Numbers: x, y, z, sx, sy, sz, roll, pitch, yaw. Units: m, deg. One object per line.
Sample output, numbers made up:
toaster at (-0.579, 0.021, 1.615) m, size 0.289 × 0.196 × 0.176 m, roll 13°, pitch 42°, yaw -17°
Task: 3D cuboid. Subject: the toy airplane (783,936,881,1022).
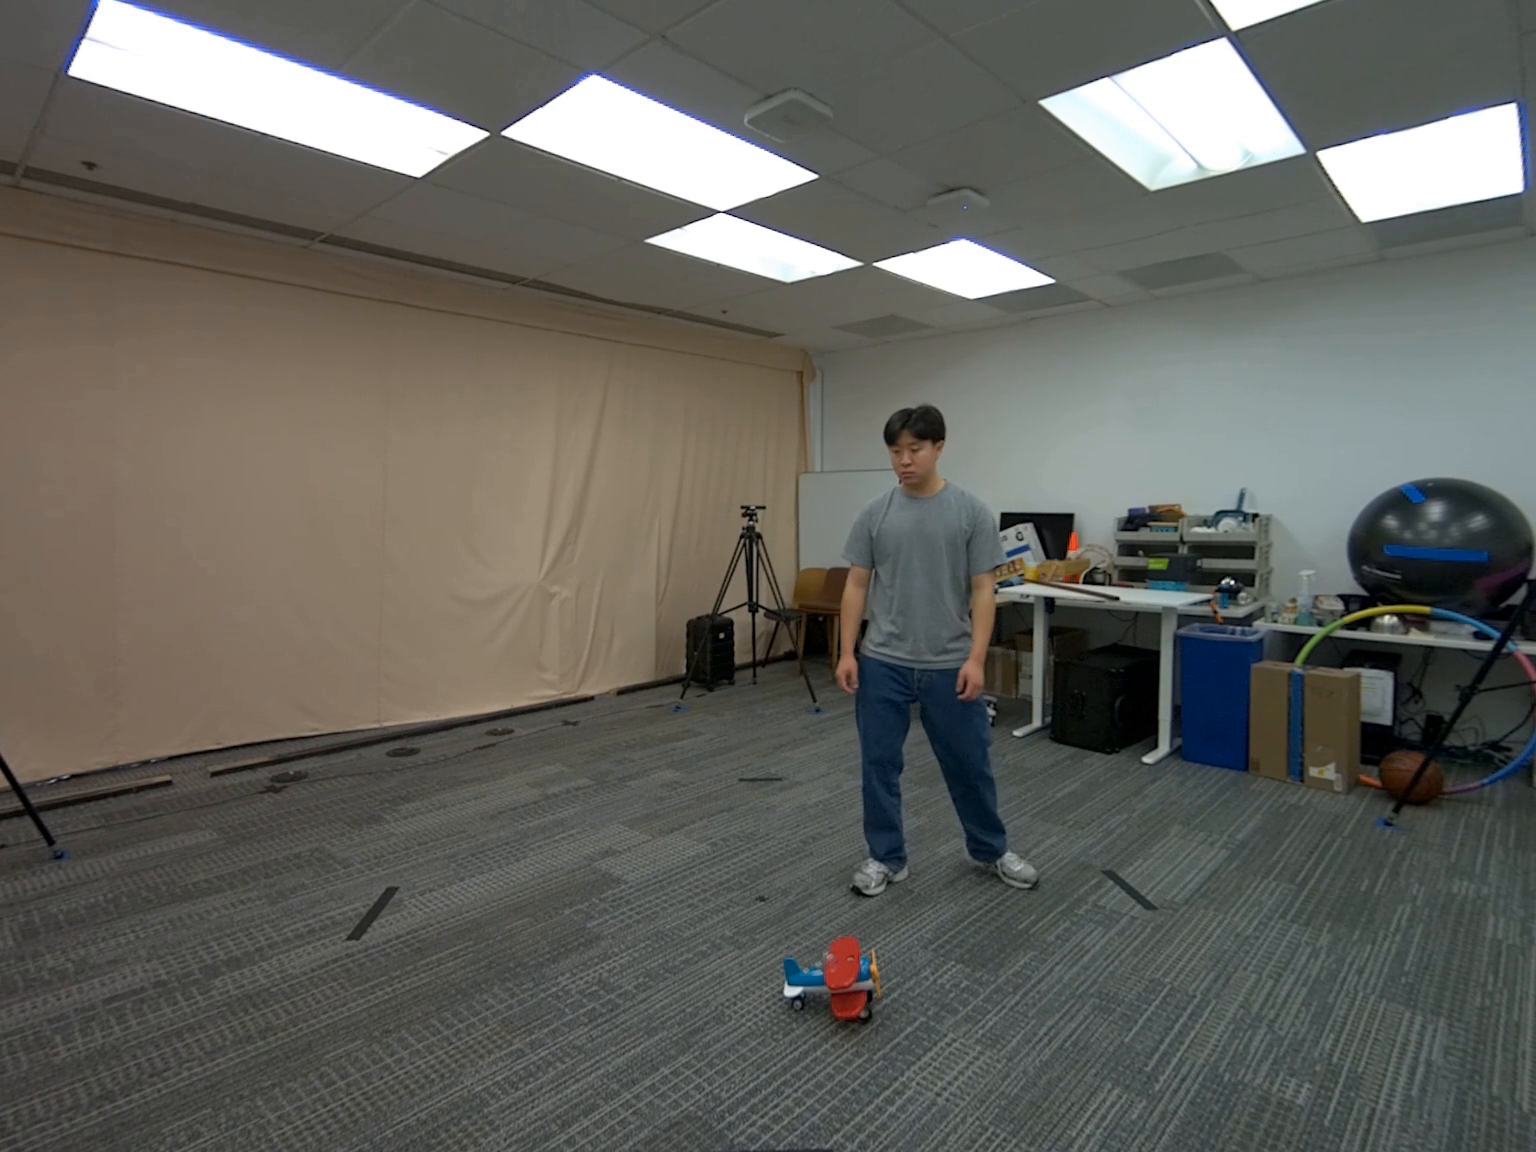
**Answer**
toy airplane at (0.185, 1.126, 2.305) m, size 0.254 × 0.156 × 0.256 m, roll -1°, pitch 5°, yaw -19°
